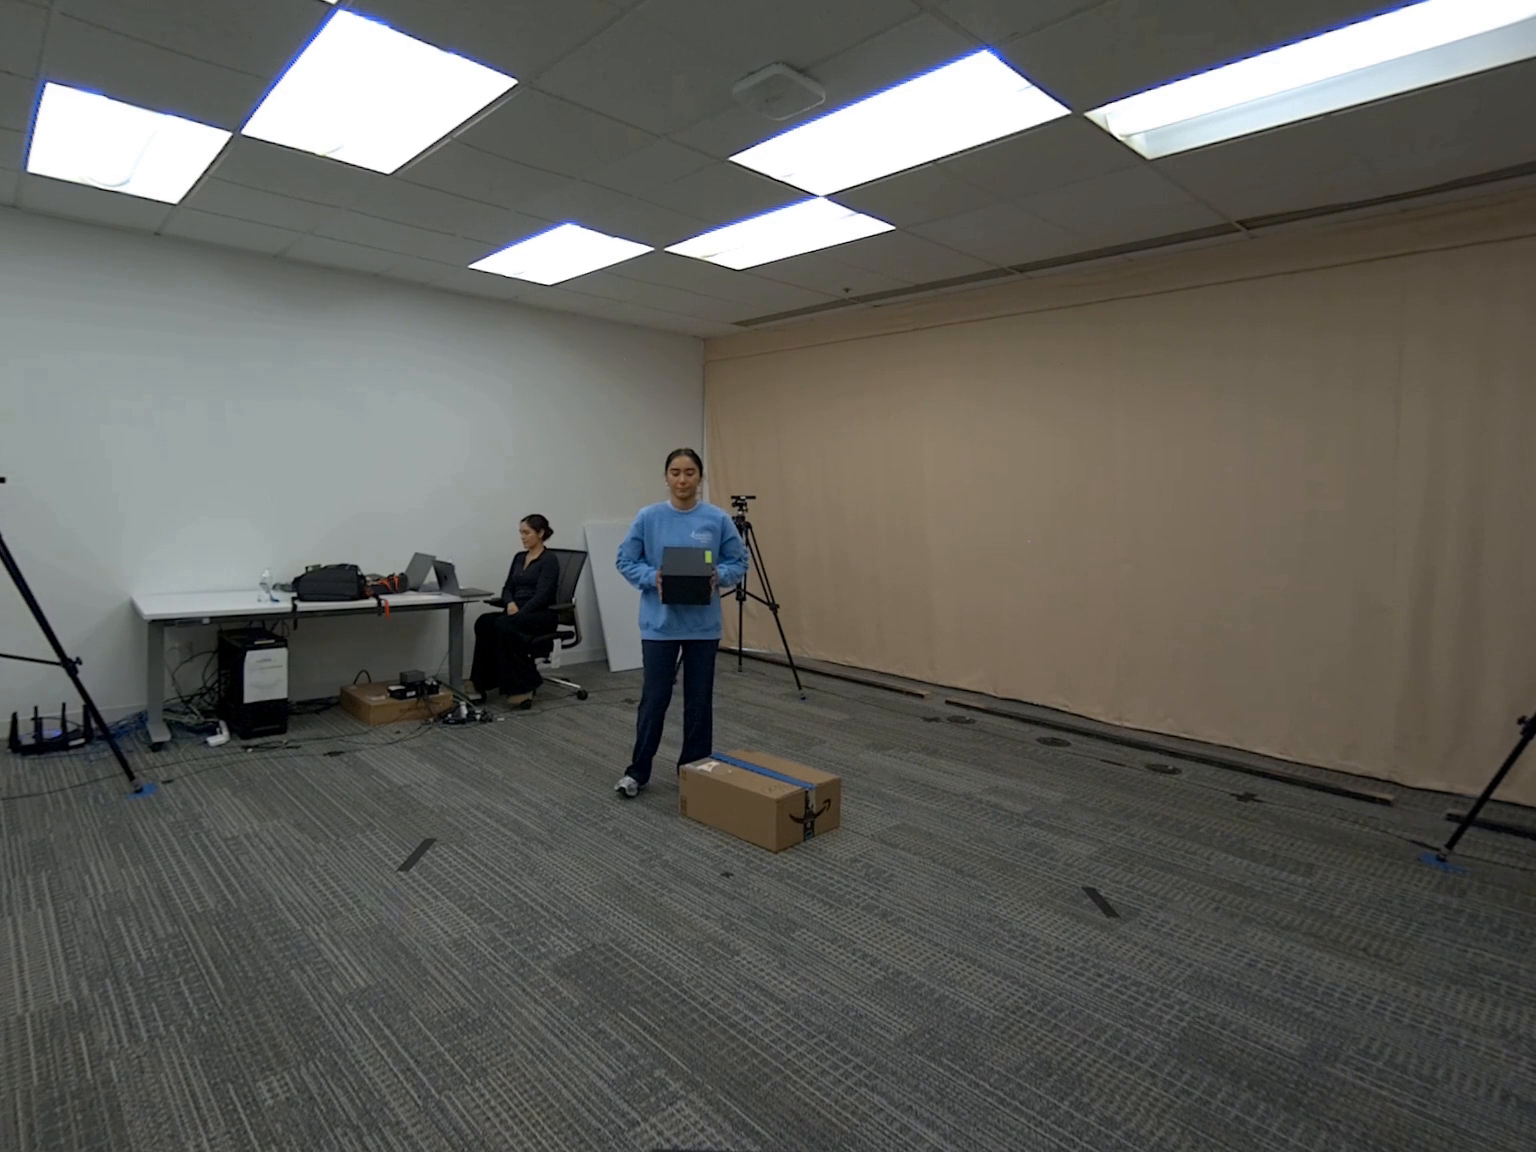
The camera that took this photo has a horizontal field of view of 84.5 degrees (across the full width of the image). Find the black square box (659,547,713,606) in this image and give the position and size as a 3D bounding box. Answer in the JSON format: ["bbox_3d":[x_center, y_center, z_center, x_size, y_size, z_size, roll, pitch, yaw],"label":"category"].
[{"bbox_3d":[-0.378,-0.002,3.730,0.216,0.159,0.224,3,-38,-5],"label":"black square box"}]
